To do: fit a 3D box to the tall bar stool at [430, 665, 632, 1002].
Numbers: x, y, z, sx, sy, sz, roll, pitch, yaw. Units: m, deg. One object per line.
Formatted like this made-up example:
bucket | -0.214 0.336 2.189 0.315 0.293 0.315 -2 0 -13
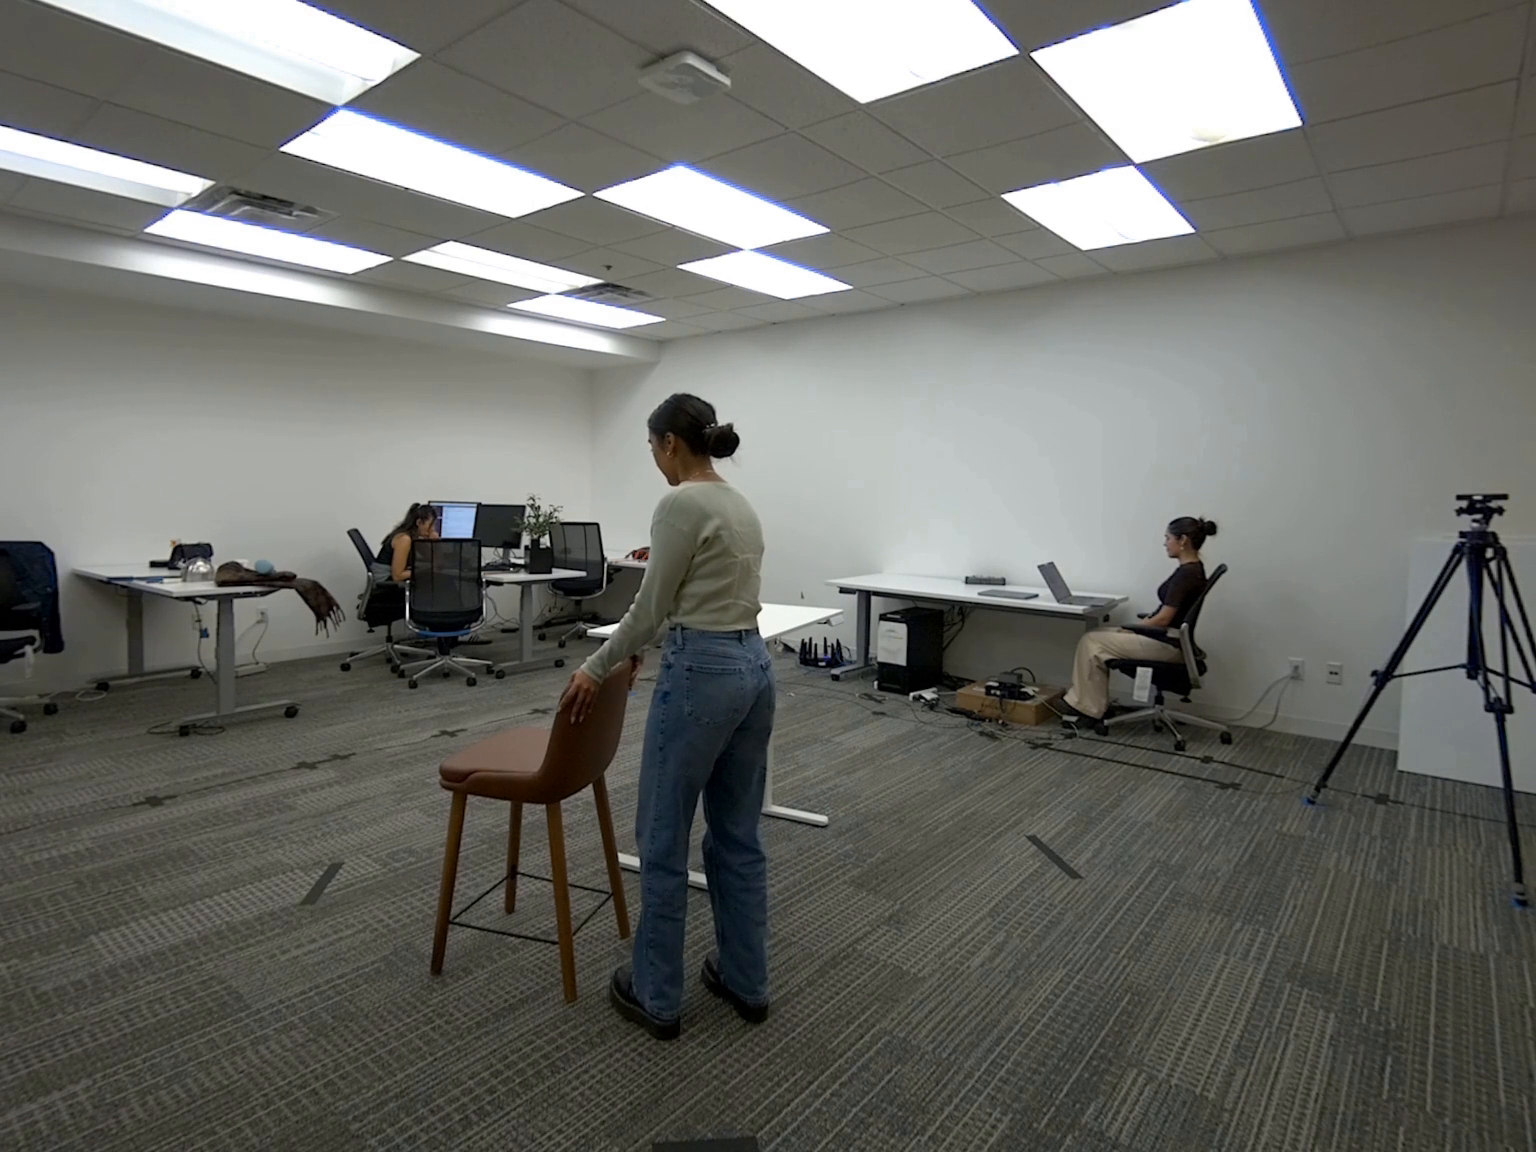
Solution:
tall bar stool | -0.683 0.680 2.502 0.477 0.887 0.449 4 4 18
